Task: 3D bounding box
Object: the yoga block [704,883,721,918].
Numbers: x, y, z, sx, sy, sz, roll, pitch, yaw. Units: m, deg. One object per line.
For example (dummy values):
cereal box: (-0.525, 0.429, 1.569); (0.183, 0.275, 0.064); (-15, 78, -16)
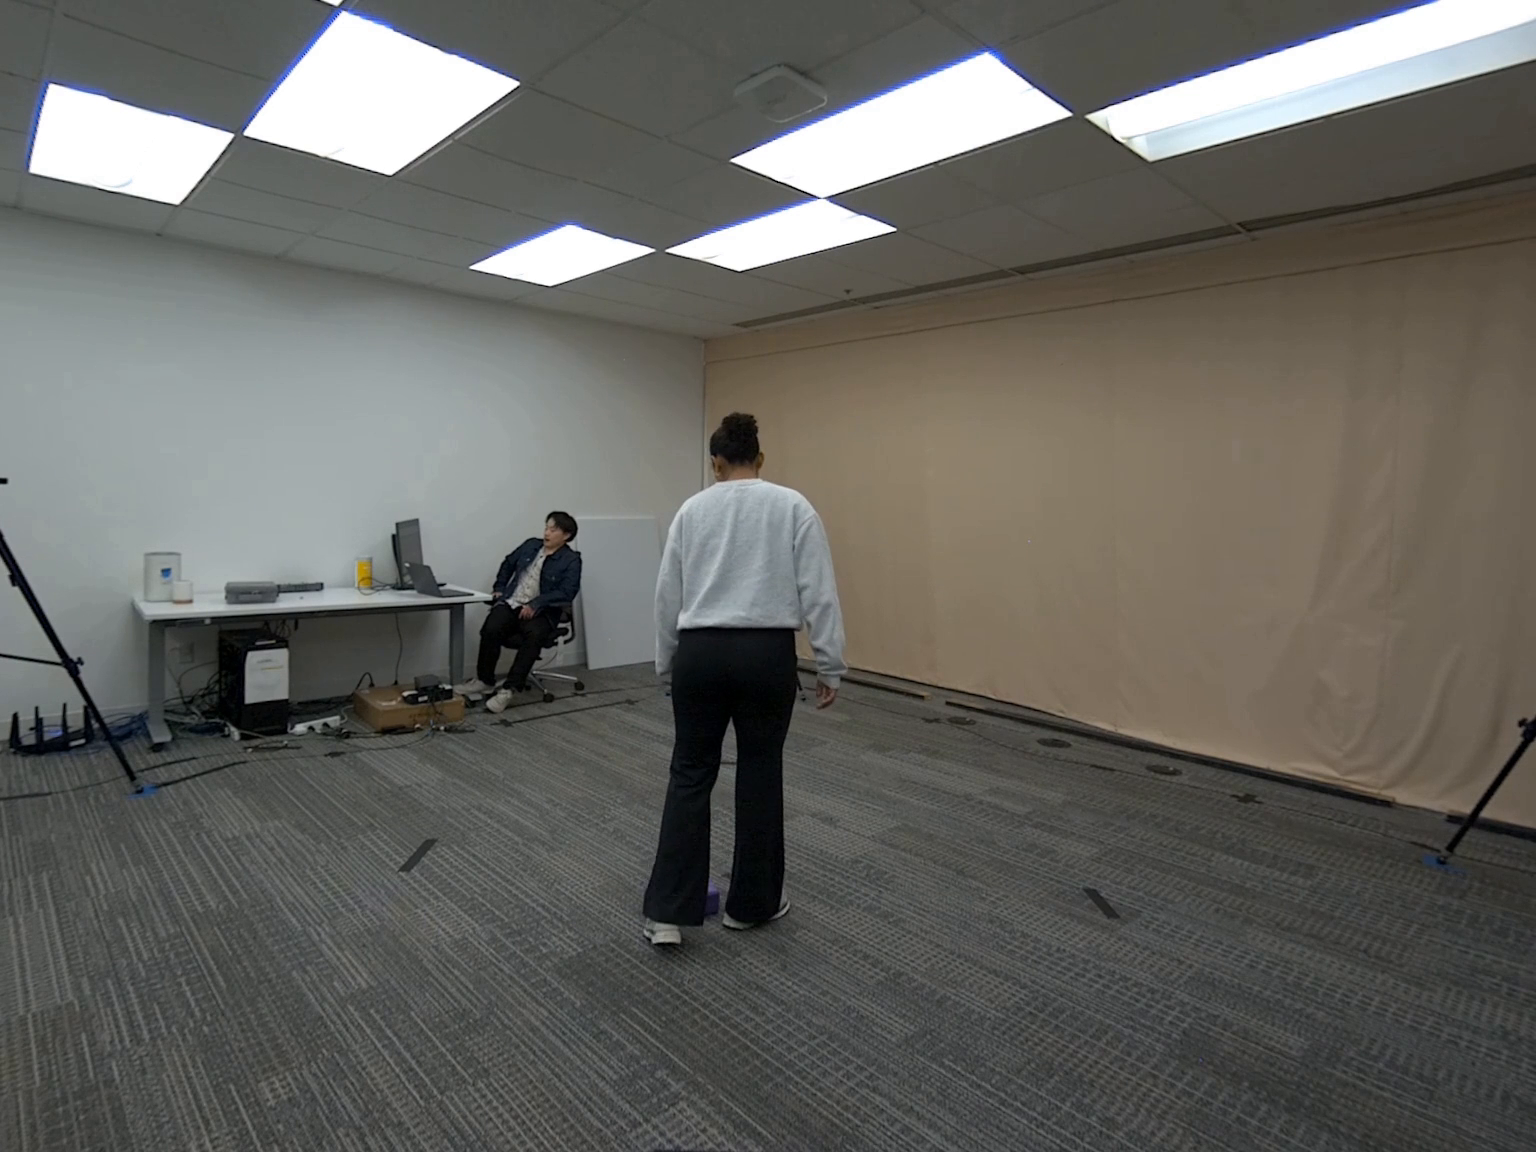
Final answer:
yoga block: (-0.286, 1.089, 2.868); (0.226, 0.076, 0.152); (0, 4, -21)
